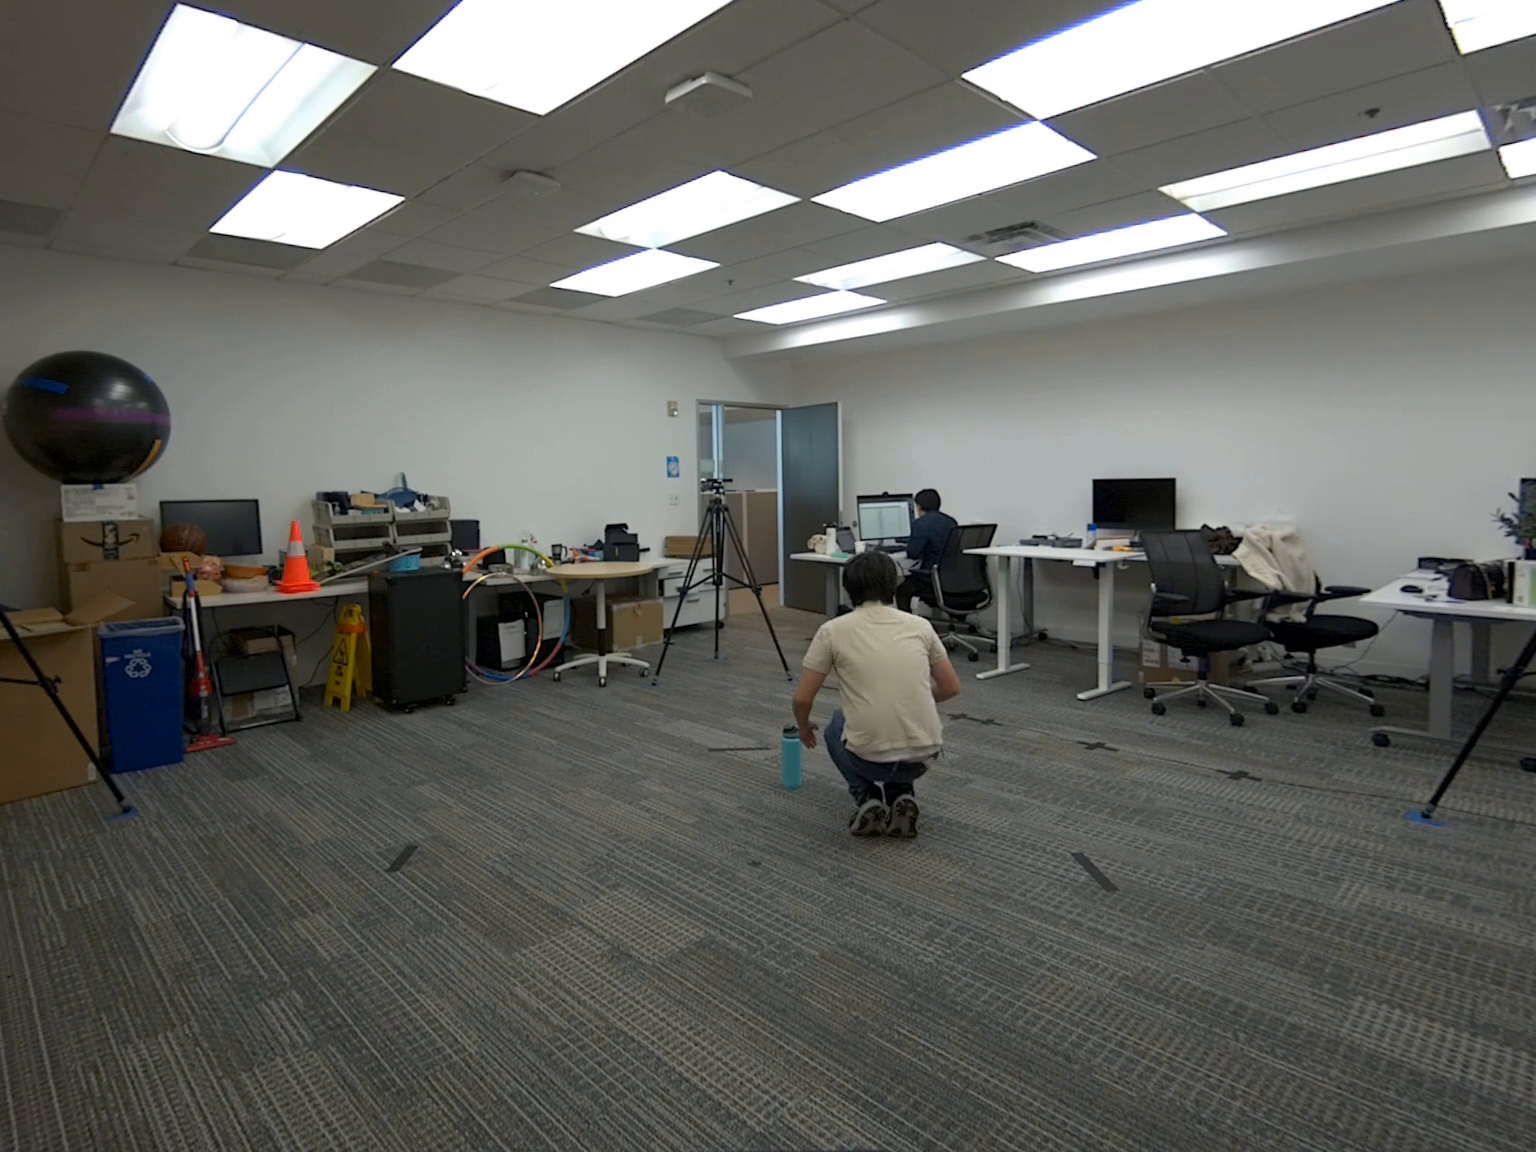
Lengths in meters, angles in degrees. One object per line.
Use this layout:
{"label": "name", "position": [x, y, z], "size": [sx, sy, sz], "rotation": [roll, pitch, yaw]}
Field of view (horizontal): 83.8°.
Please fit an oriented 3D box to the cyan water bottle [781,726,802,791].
{"label": "cyan water bottle", "position": [0.111, 0.812, 3.884], "size": [0.092, 0.282, 0.093], "rotation": [0, 4, -2]}
